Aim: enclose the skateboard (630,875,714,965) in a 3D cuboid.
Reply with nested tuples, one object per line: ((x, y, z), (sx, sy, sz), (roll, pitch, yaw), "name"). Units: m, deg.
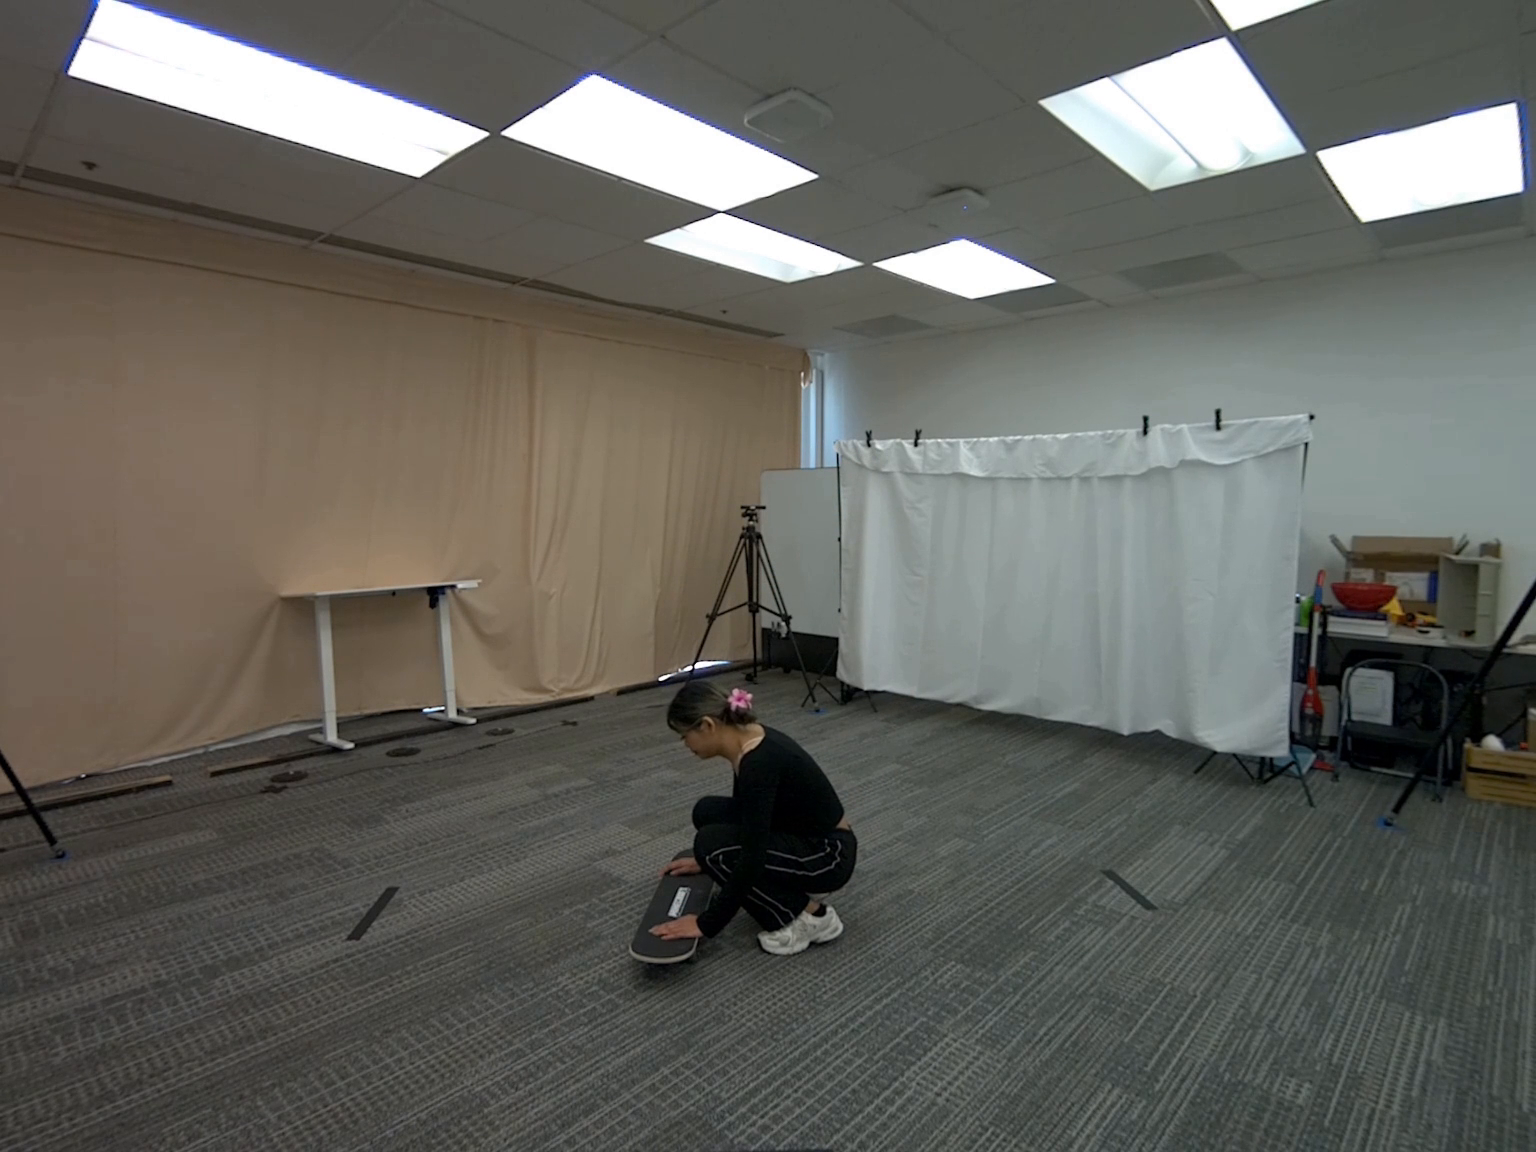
((-0.287, 1.104, 2.790), (0.195, 0.110, 0.782), (0, 5, 4), "skateboard")
